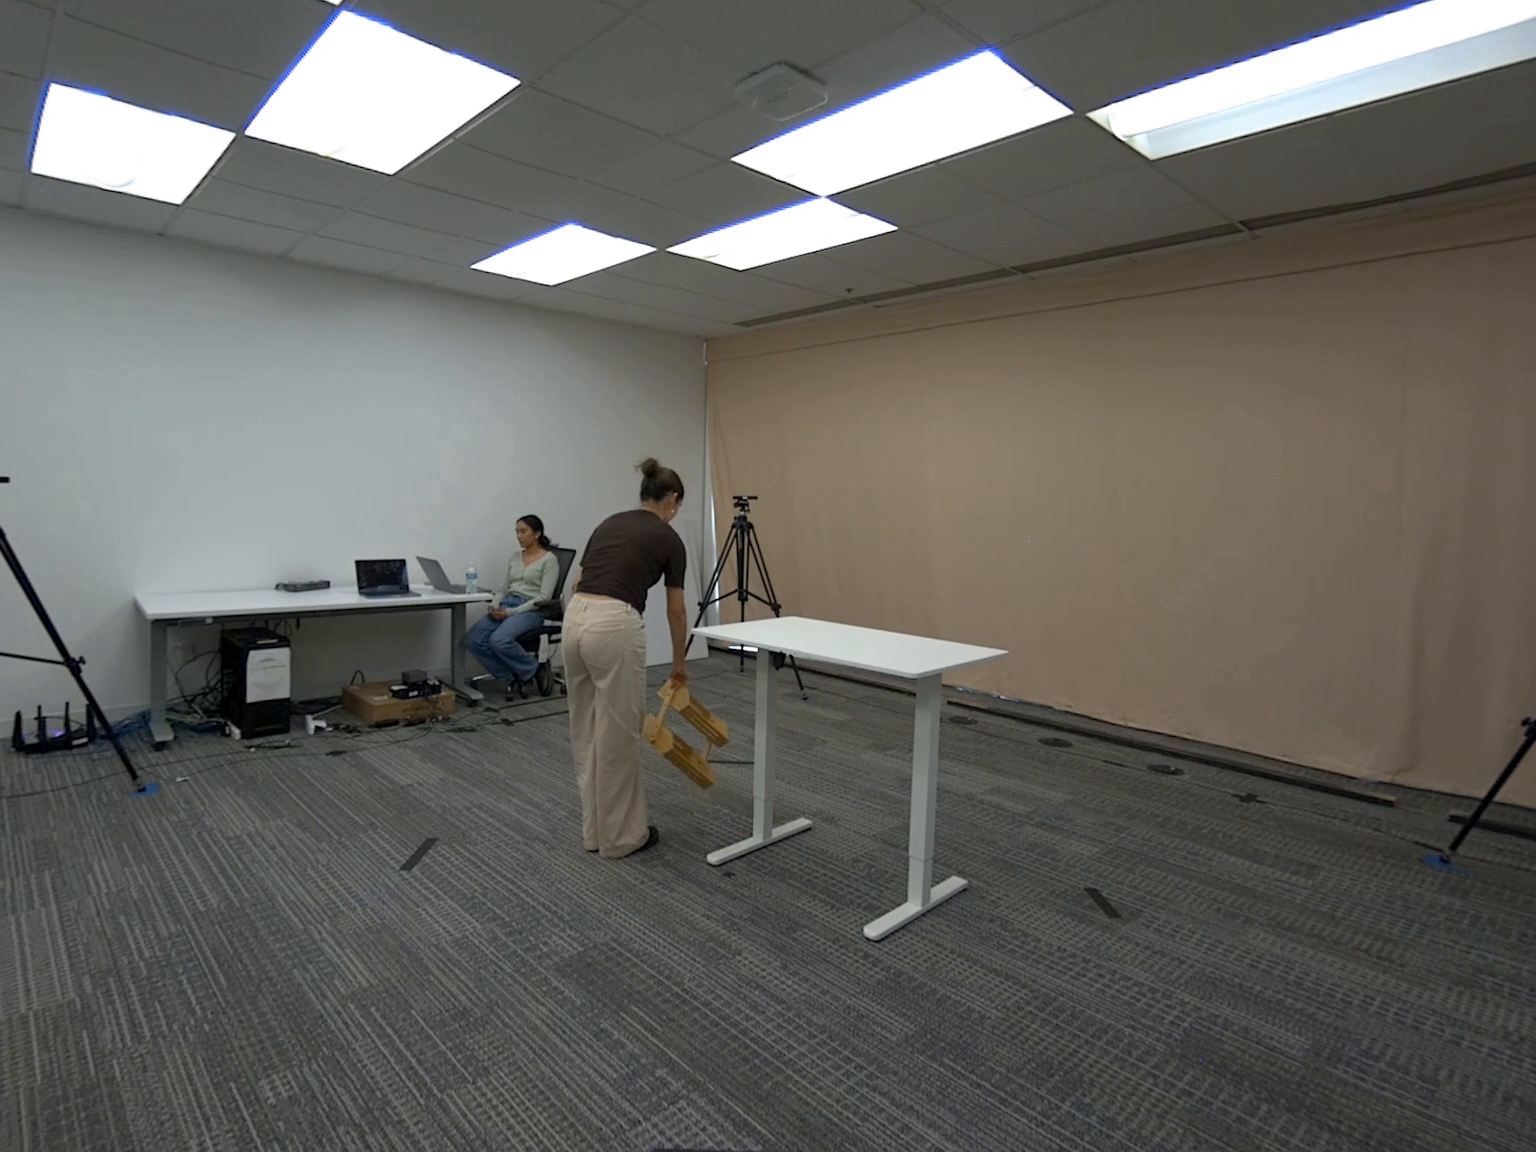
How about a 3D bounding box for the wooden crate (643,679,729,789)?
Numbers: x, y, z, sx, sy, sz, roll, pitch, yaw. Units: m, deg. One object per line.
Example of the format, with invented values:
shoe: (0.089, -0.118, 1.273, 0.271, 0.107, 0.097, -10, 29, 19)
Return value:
wooden crate: (-0.333, 0.656, 3.506, 0.311, 0.273, 0.315, 25, -18, 52)
